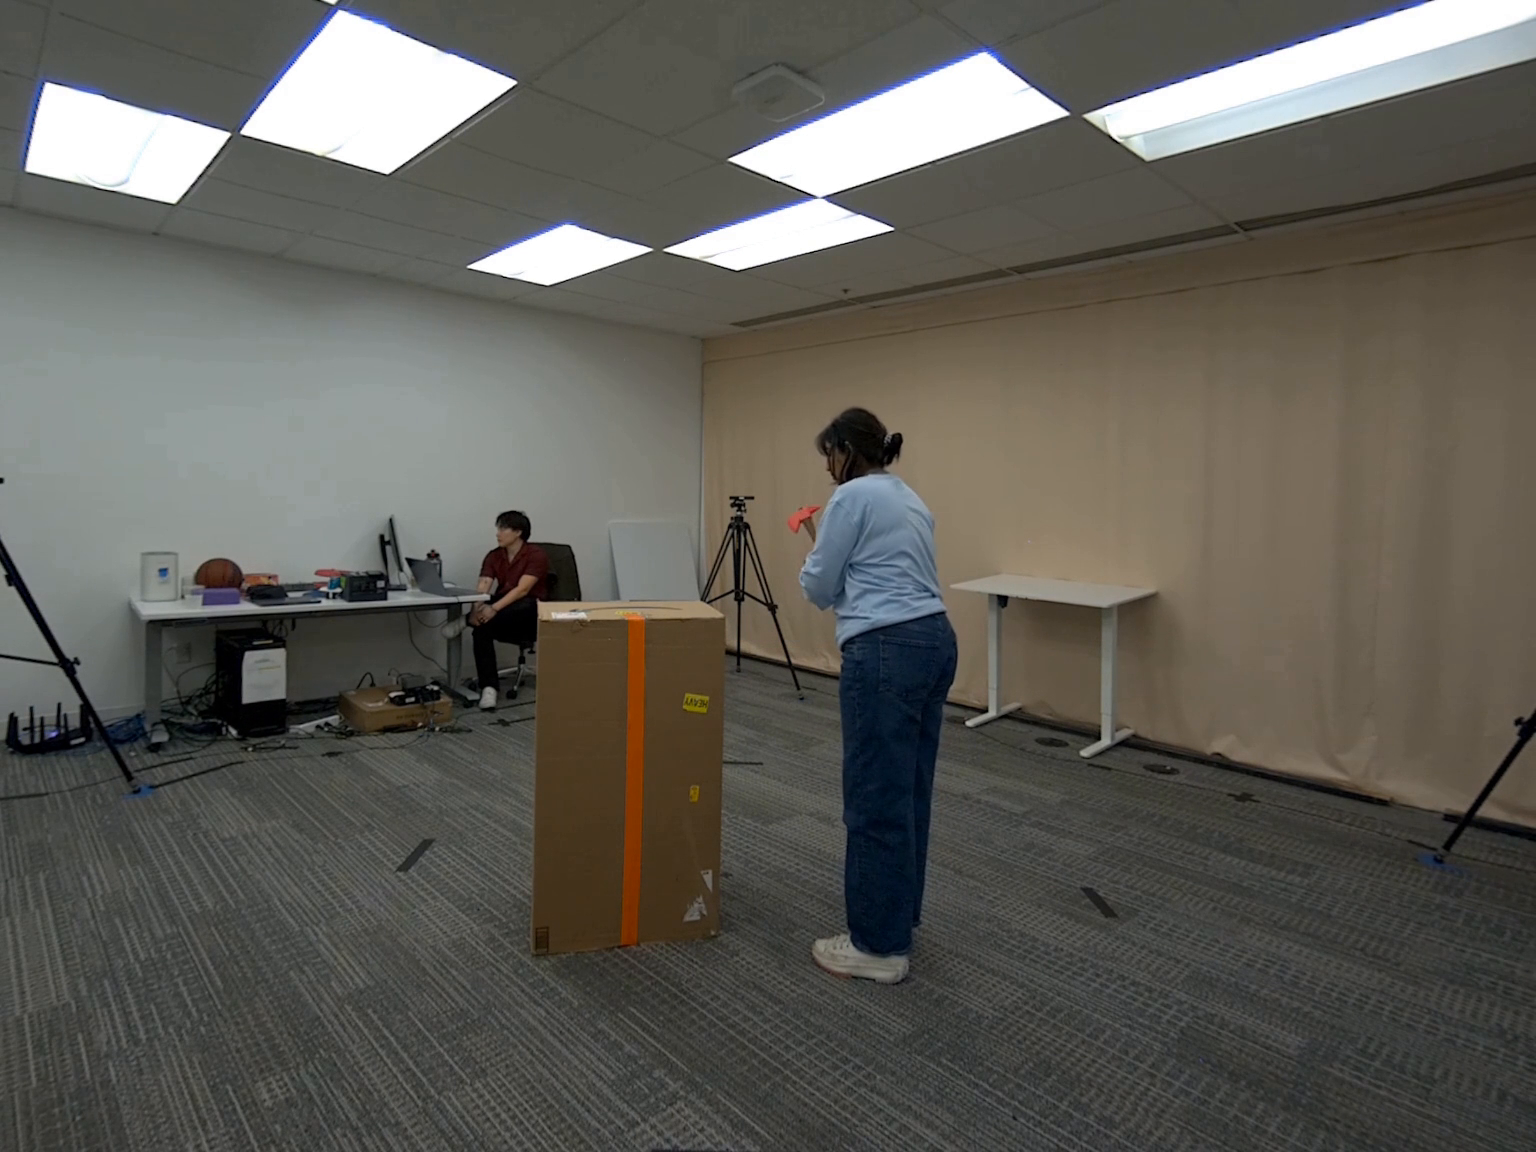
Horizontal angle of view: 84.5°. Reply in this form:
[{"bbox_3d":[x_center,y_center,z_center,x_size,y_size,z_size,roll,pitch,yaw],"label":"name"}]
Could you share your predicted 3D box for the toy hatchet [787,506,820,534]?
[{"bbox_3d":[0.130,-0.114,2.965,0.132,0.275,0.029,-12,-22,14],"label":"toy hatchet"}]
